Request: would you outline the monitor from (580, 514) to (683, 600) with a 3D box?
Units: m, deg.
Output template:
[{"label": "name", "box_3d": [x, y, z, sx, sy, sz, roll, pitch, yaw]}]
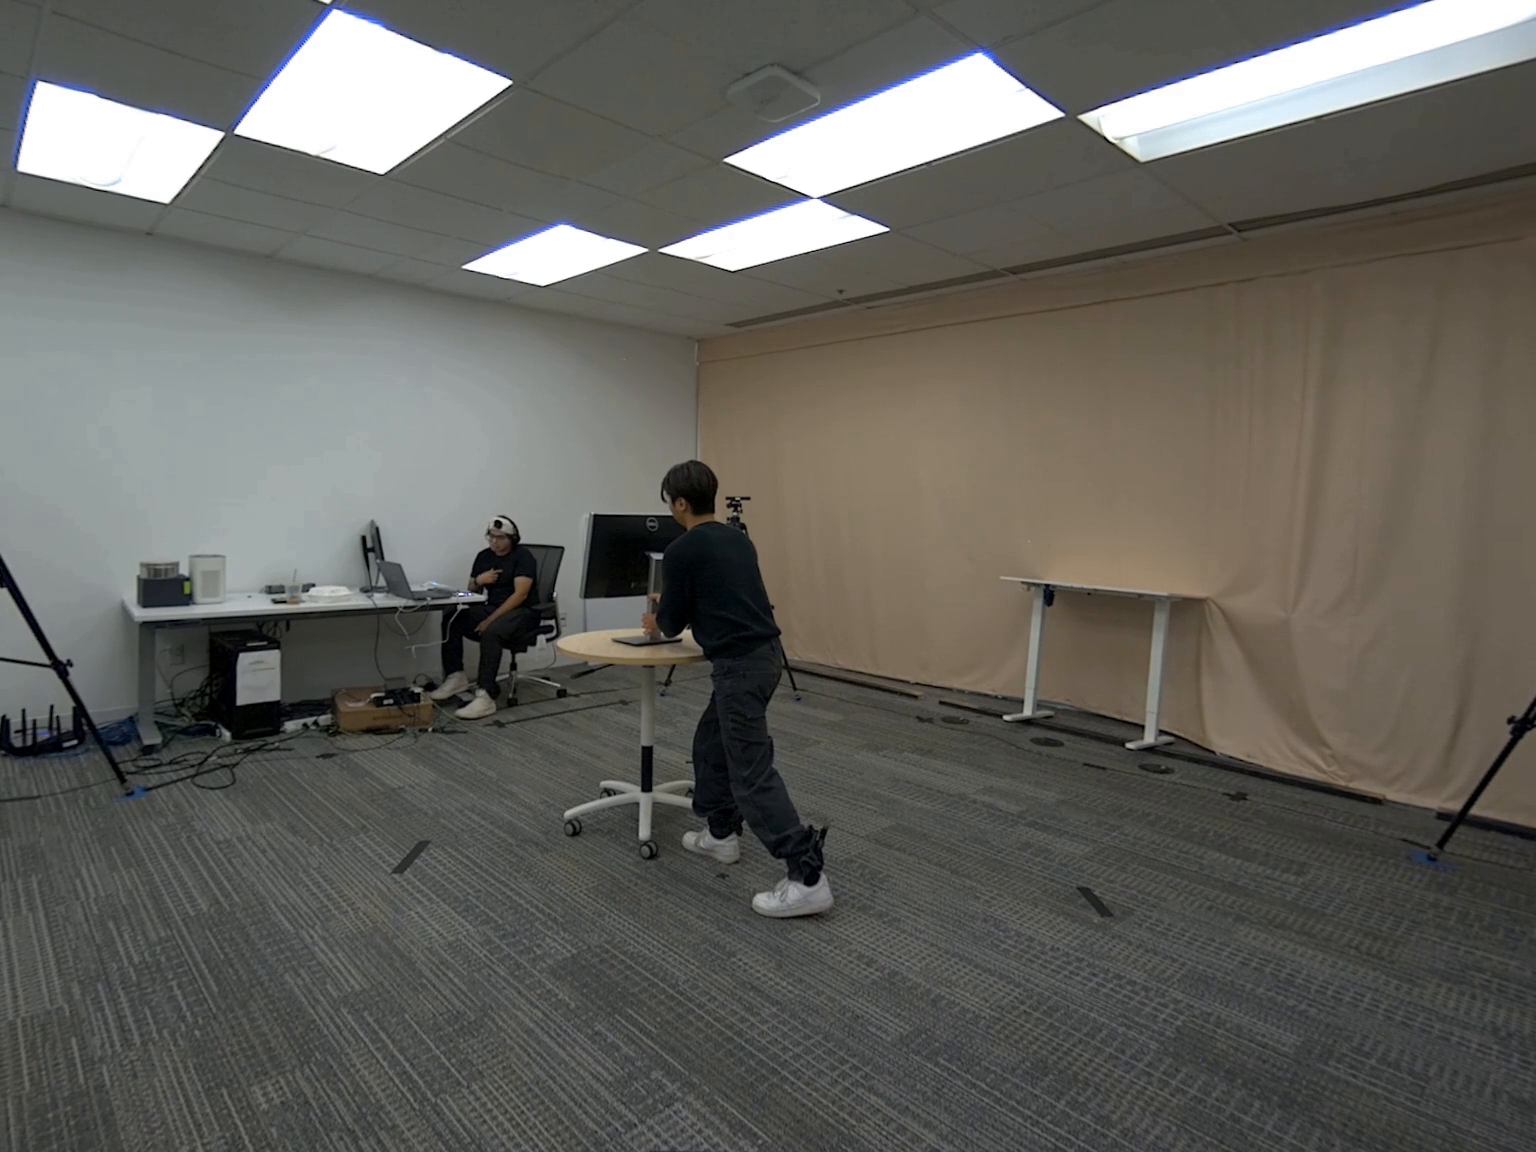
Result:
[{"label": "monitor", "box_3d": [-0.510, 0.004, 3.555, 0.518, 0.516, 0.178, -4, 1, -43]}]
